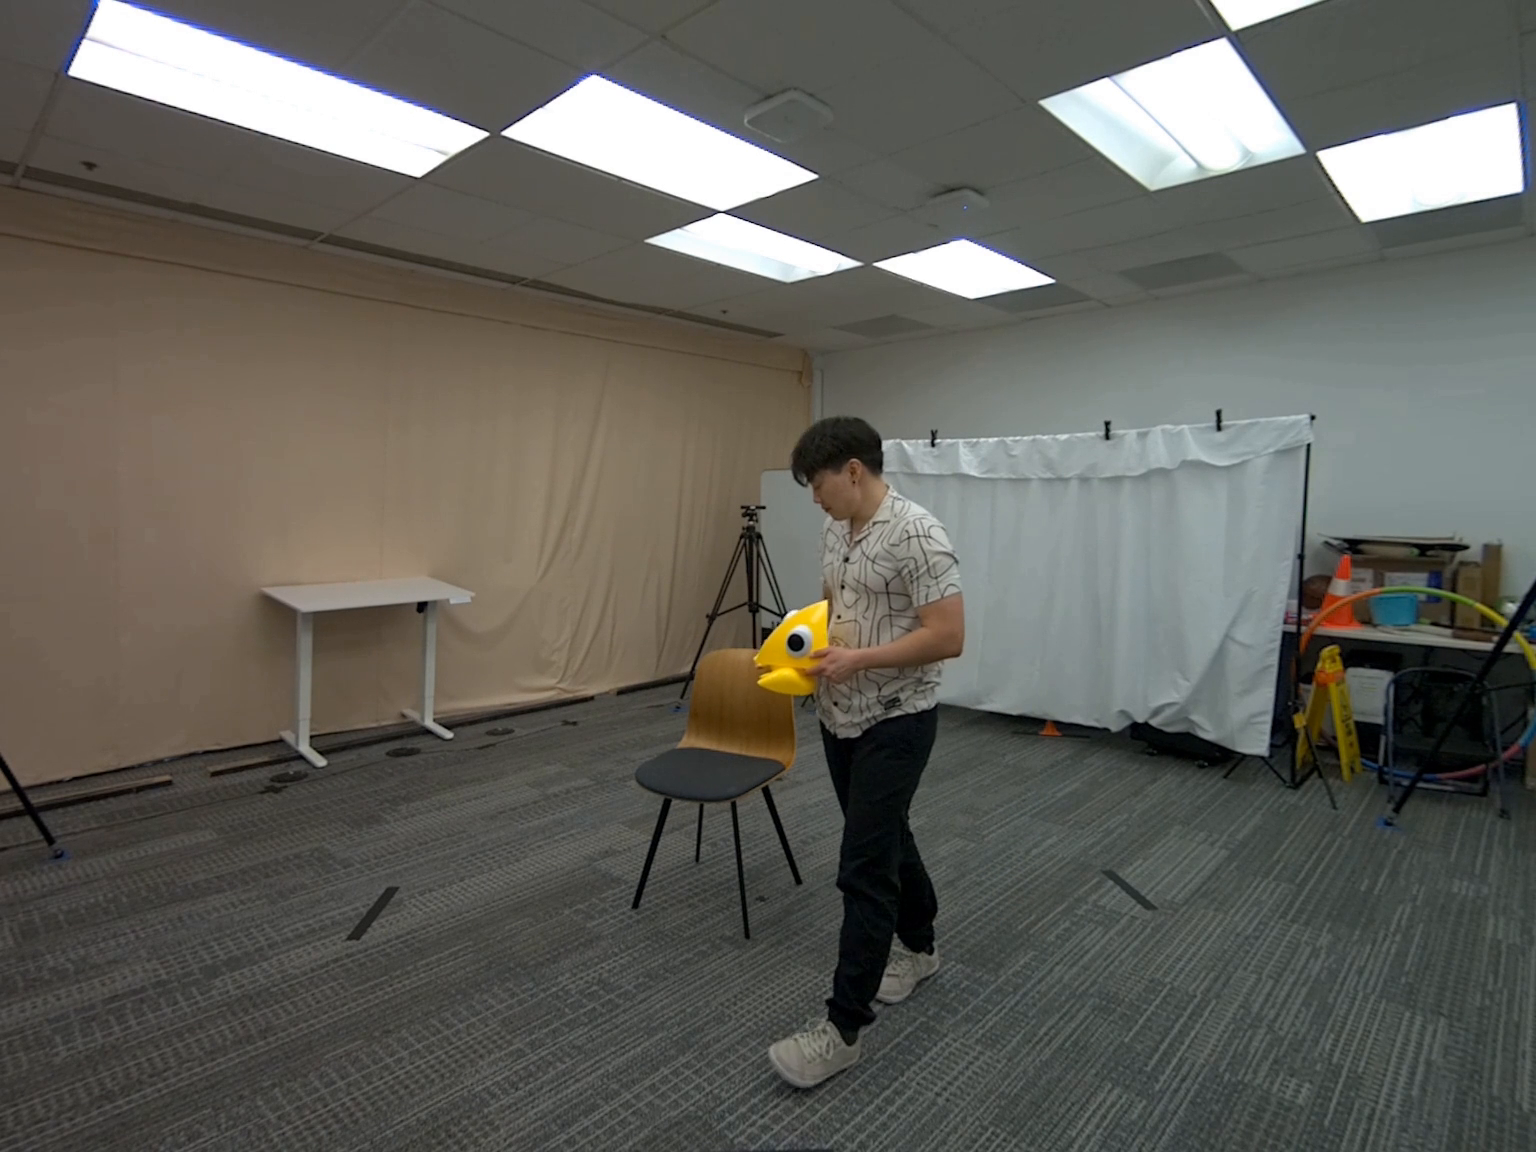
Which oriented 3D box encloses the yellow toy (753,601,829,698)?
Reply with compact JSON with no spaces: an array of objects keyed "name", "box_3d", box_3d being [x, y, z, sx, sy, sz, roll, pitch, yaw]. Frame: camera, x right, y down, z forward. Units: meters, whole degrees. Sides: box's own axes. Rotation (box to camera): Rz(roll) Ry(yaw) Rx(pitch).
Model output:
[{"name":"yellow toy","box_3d":[0.084,0.163,2.214,0.192,0.229,0.208,7,20,-7]}]
